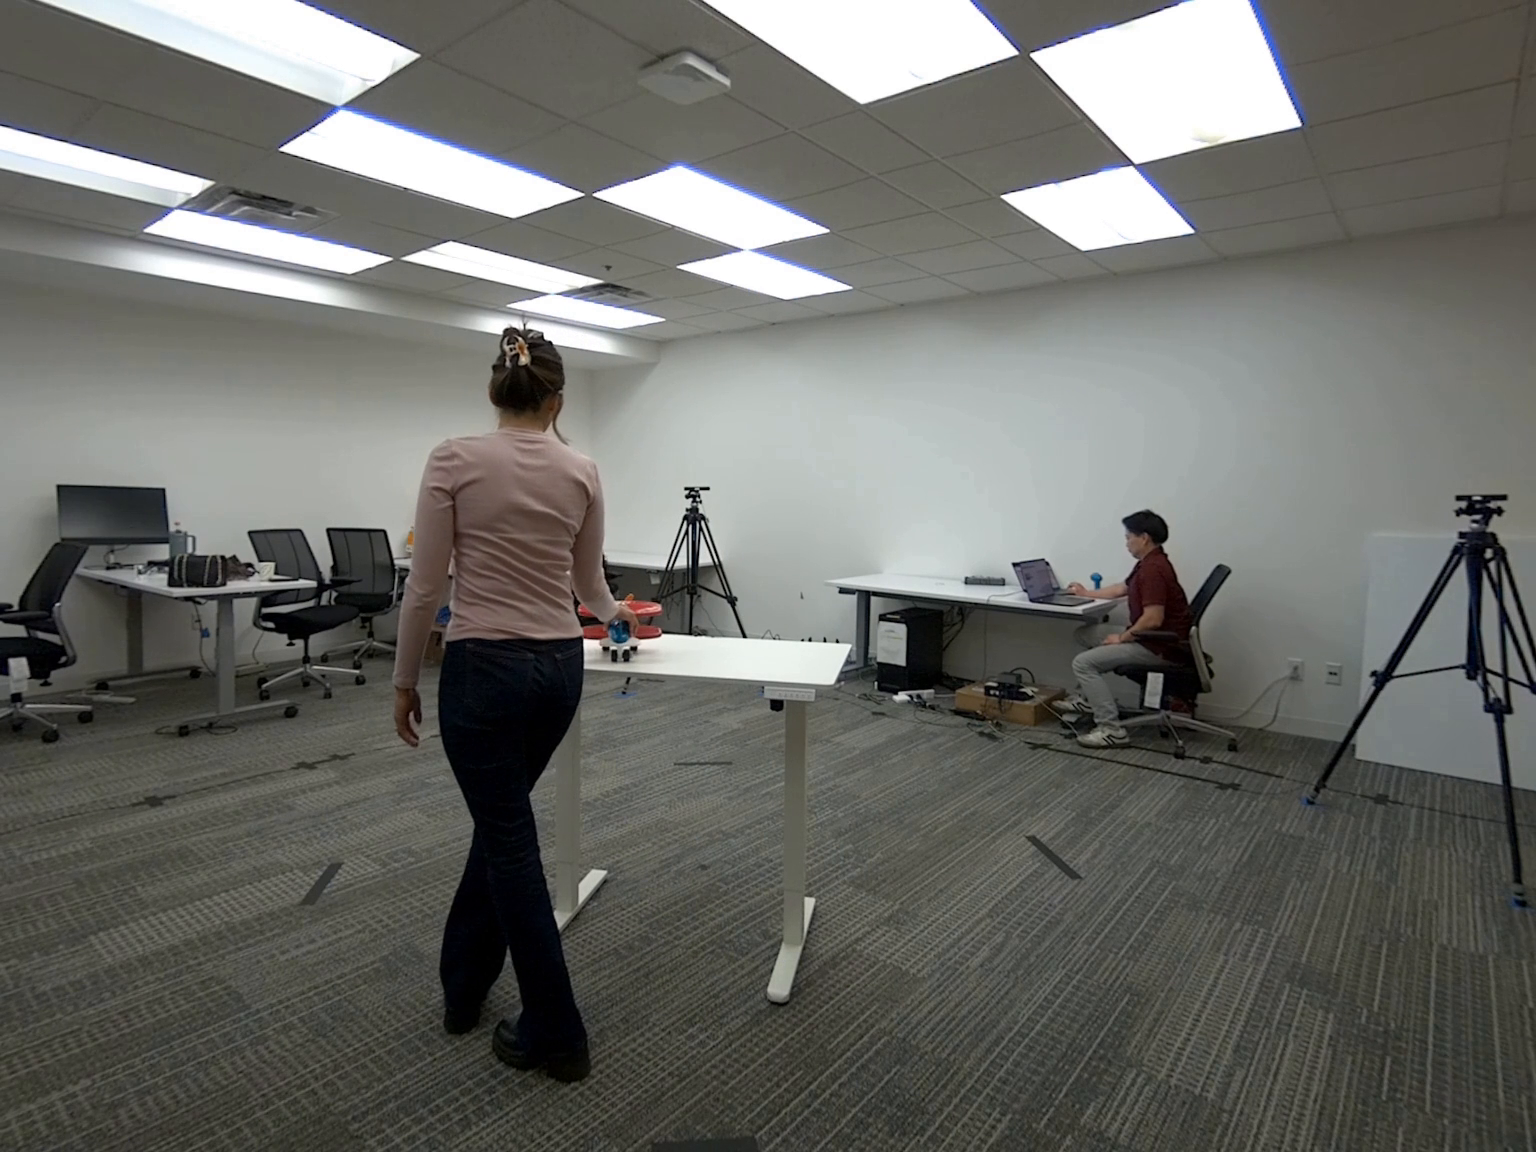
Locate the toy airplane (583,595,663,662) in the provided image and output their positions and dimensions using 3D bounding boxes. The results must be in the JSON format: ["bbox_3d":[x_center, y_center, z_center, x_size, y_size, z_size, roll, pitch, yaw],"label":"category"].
[{"bbox_3d":[-0.440,0.164,2.566,0.244,0.155,0.268,-5,7,-34],"label":"toy airplane"}]
